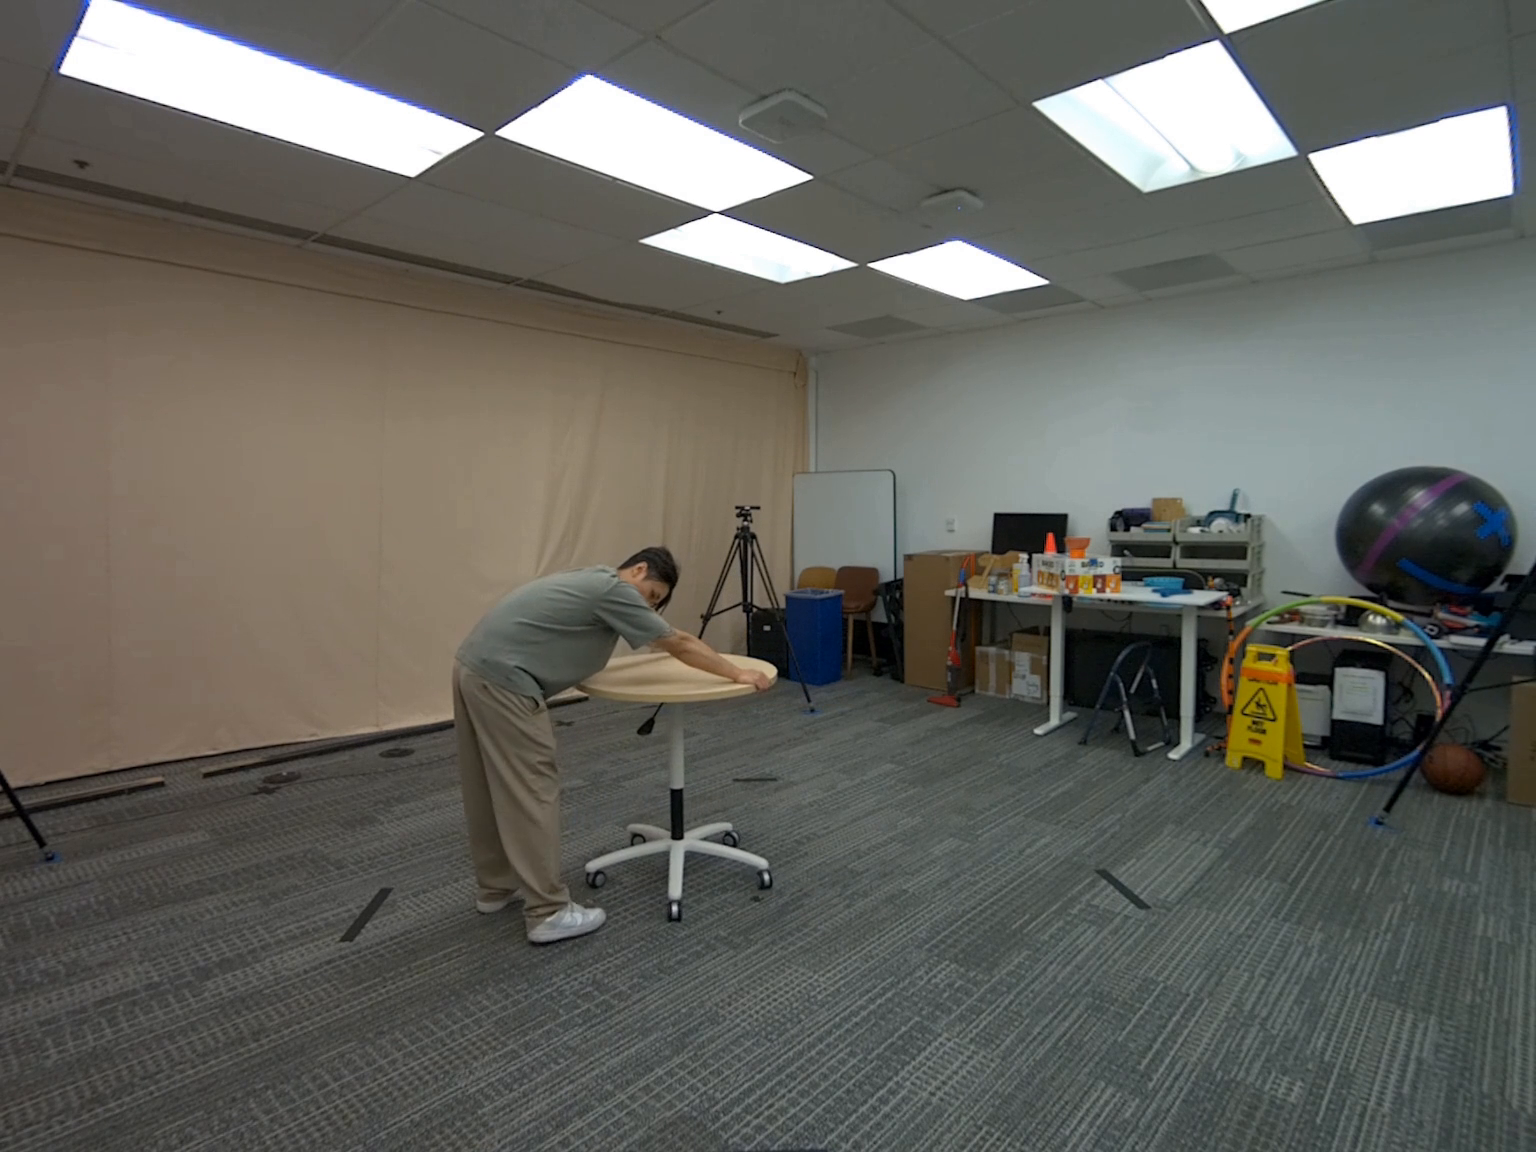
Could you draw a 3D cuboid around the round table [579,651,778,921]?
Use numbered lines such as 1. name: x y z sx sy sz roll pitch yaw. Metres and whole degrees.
1. round table: -0.341 0.741 3.179 0.784 0.784 0.788 0 4 -2
